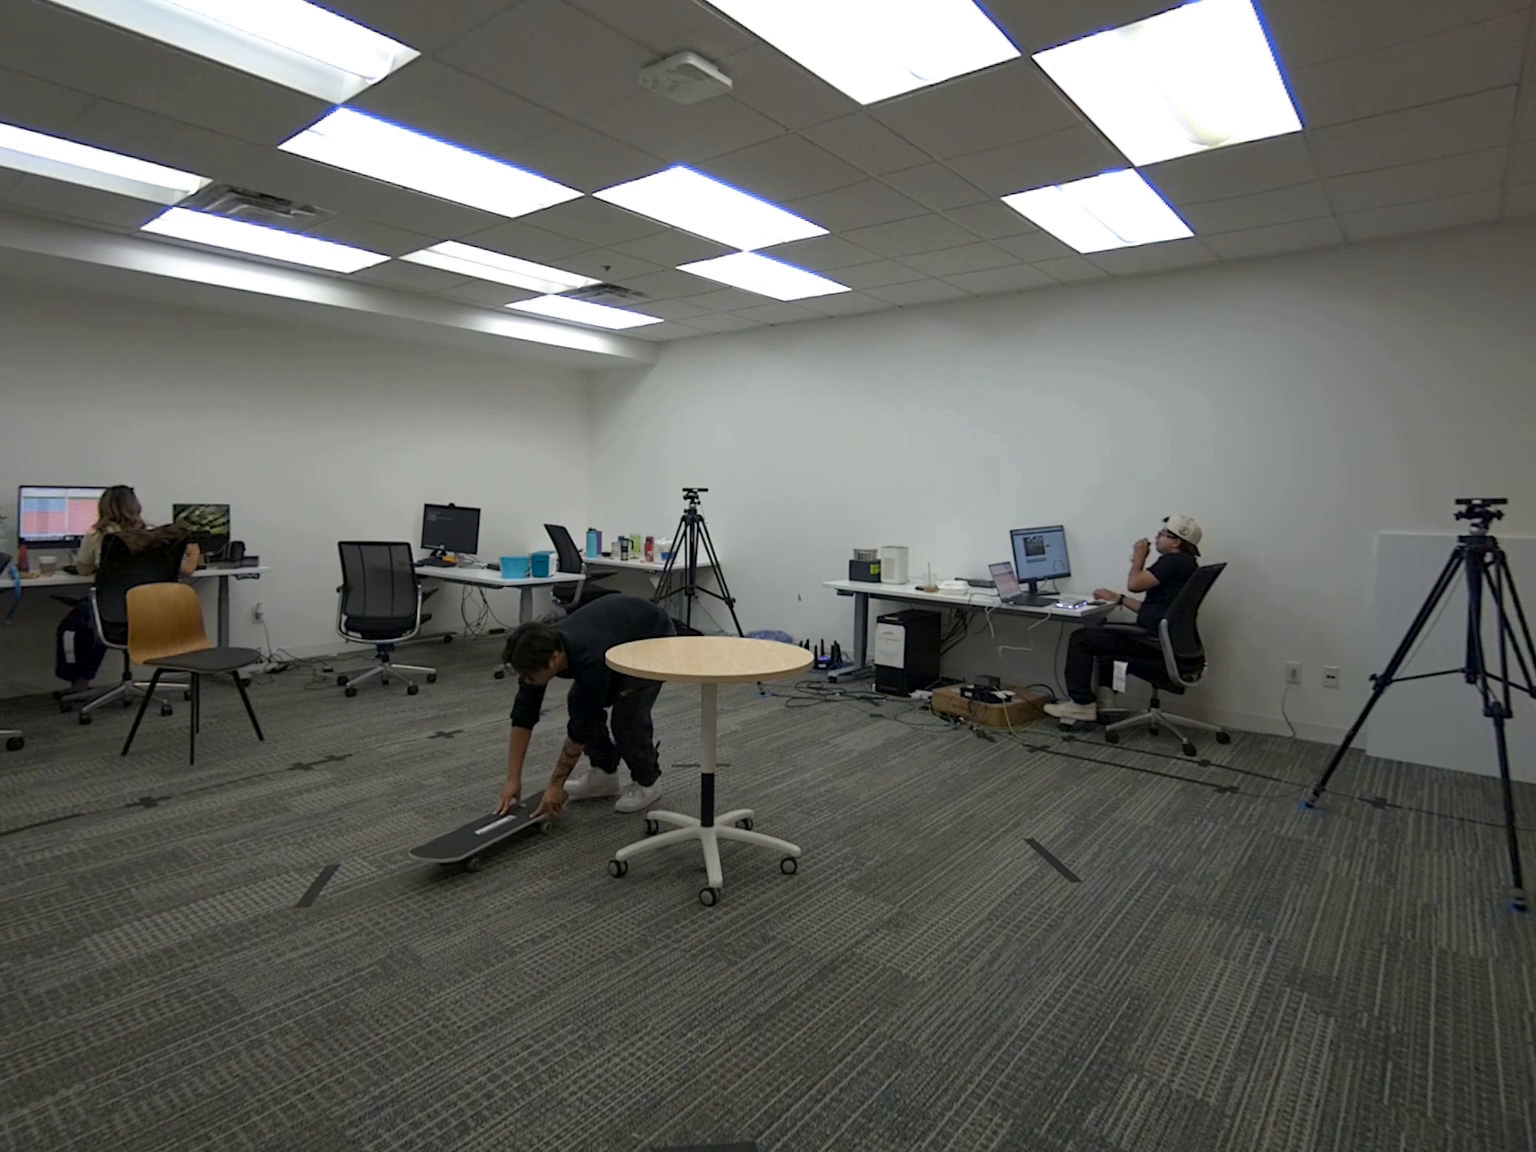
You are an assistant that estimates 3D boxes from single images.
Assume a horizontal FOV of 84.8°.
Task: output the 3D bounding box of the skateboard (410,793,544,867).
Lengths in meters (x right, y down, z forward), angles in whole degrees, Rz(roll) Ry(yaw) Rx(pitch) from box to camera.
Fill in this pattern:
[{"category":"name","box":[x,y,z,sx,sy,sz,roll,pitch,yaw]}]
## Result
[{"category":"skateboard","box":[-1.059,0.987,3.266,0.198,0.110,0.768,3,5,25]}]
